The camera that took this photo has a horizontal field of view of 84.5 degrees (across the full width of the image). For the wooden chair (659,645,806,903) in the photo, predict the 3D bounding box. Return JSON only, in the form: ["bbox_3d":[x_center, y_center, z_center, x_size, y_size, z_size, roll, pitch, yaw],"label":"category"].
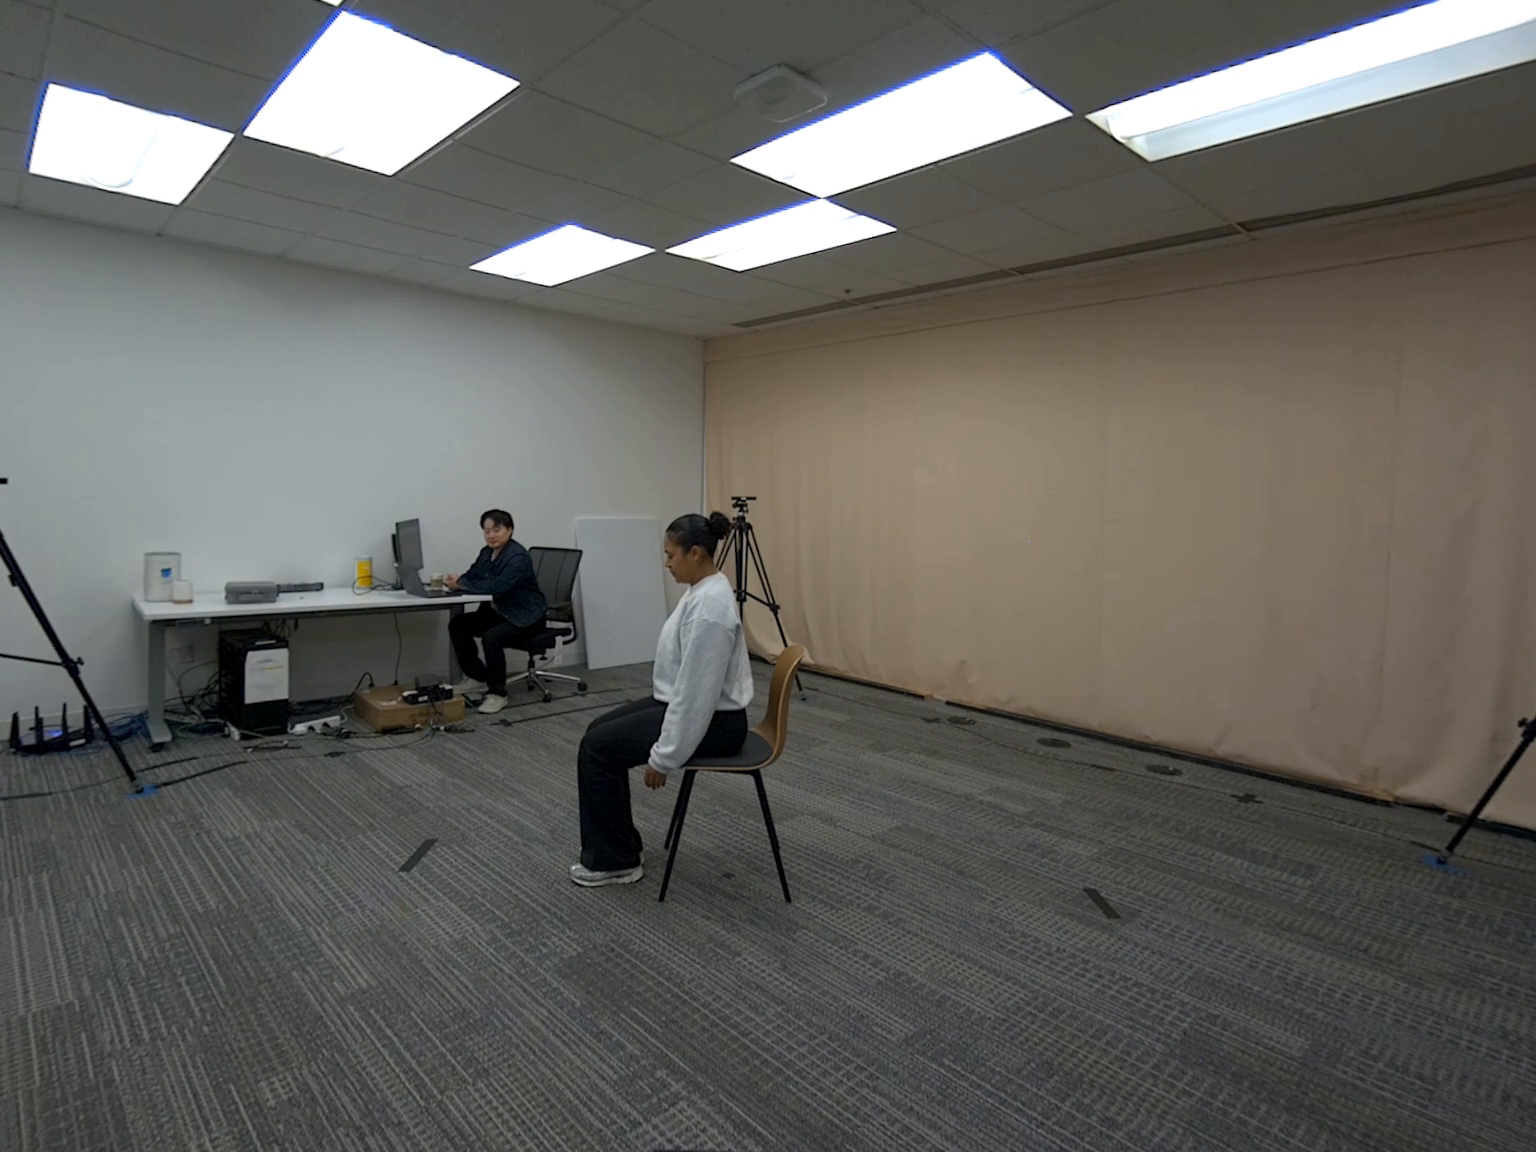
[{"bbox_3d":[-0.169,0.682,3.086,0.521,0.875,0.481,4,4,-4],"label":"wooden chair"}]
